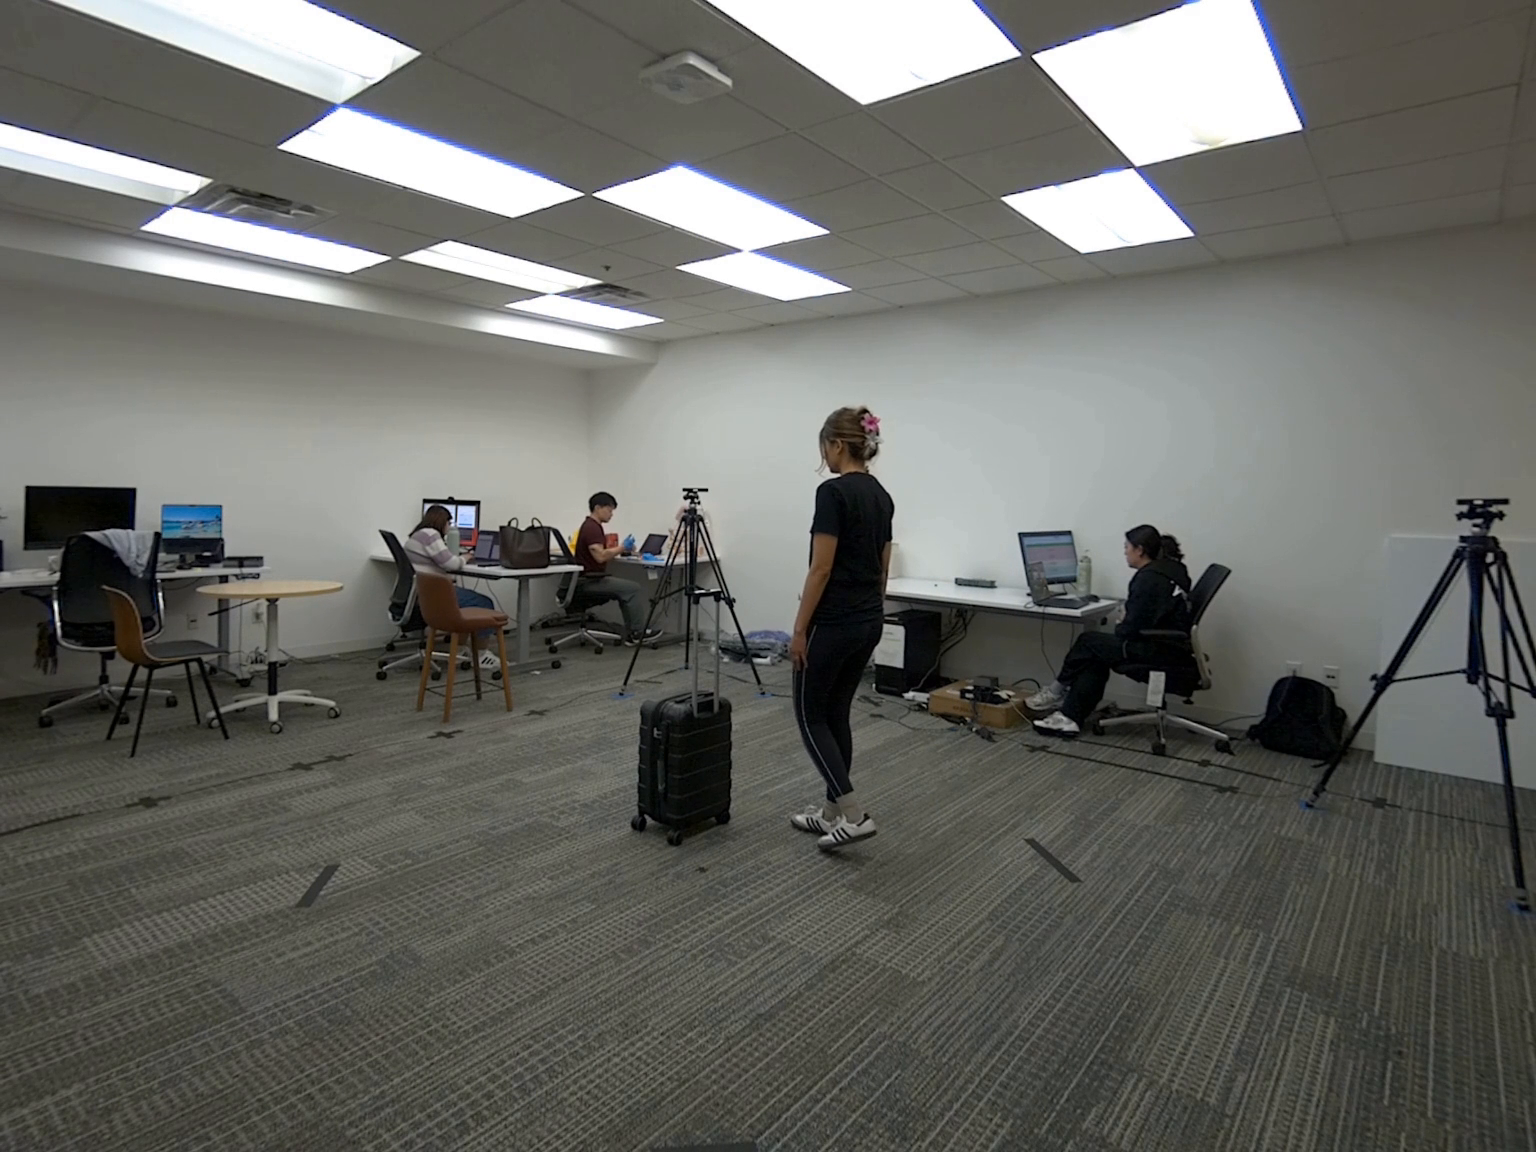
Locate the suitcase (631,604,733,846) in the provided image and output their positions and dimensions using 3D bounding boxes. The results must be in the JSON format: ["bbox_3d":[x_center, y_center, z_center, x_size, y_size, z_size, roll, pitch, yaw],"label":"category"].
[{"bbox_3d":[-0.356,0.553,3.516,0.265,0.979,0.372,0,0,44],"label":"suitcase"}]
